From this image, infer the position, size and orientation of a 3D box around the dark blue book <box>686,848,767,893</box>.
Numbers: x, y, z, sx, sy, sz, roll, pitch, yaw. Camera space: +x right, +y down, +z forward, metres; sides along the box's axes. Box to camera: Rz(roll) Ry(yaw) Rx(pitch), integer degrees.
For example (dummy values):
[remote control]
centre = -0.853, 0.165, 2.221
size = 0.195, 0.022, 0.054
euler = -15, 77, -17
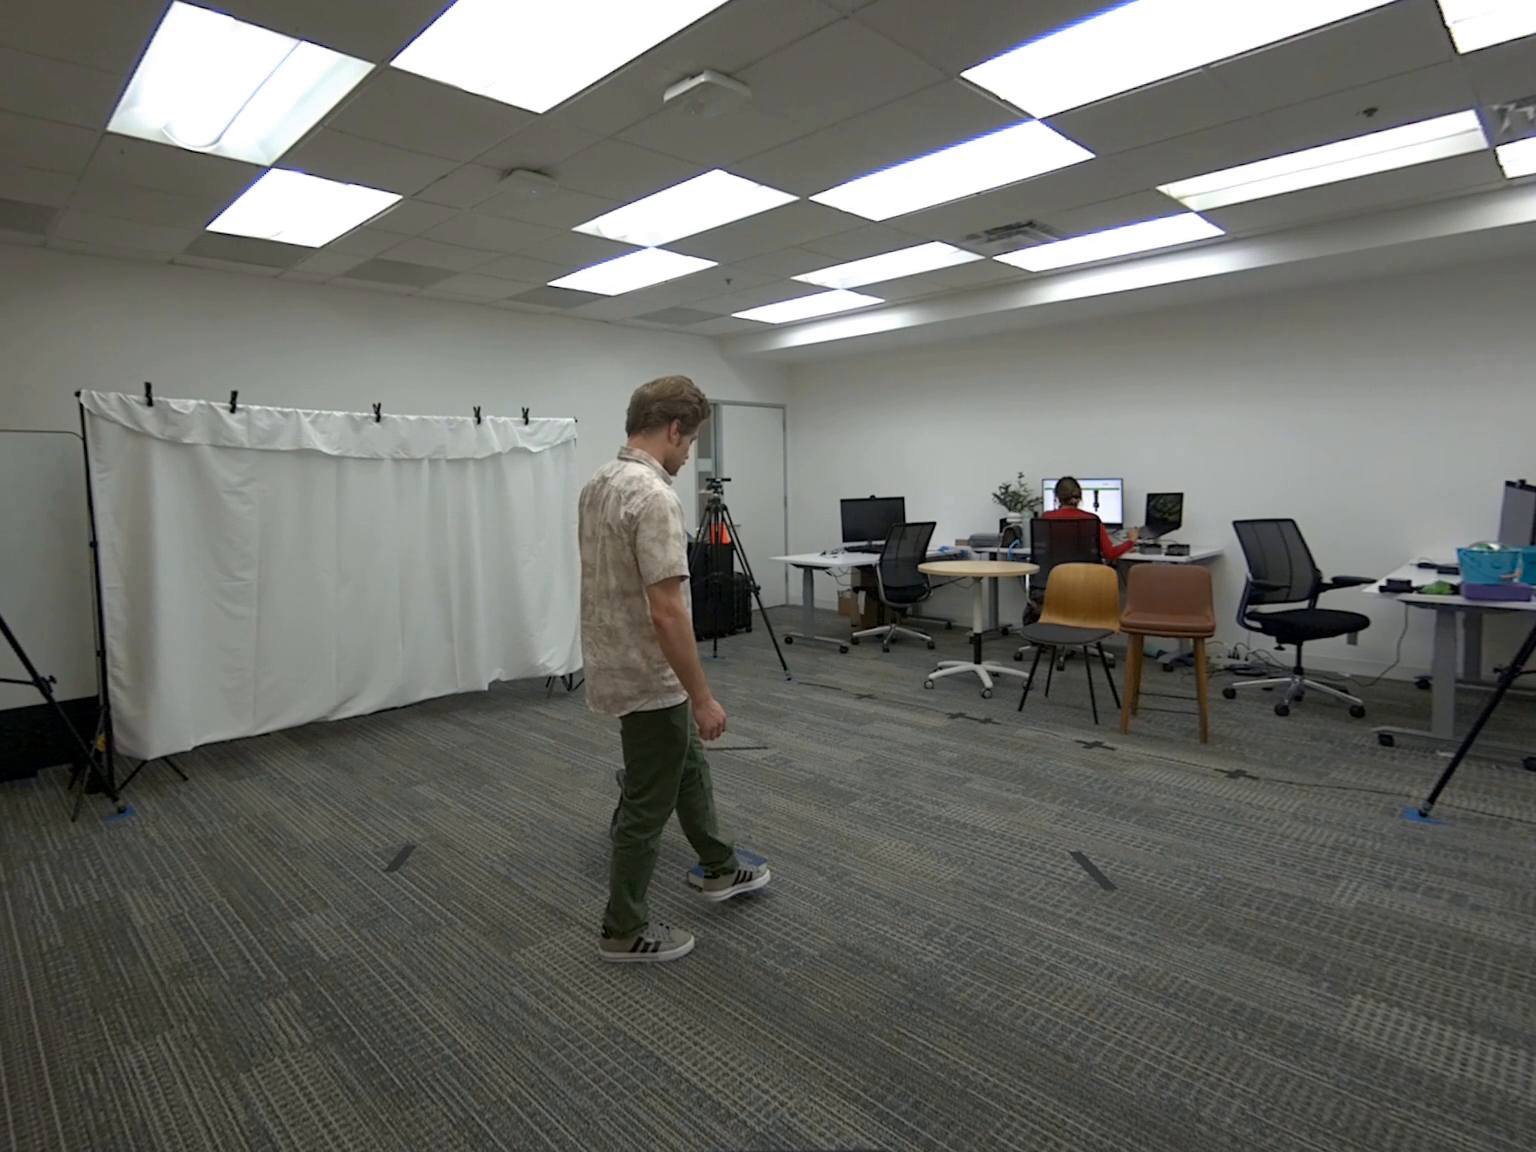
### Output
[dark blue book]
centre = -0.134, 1.032, 2.987
size = 0.168, 0.045, 0.239
euler = 5, 9, 42
